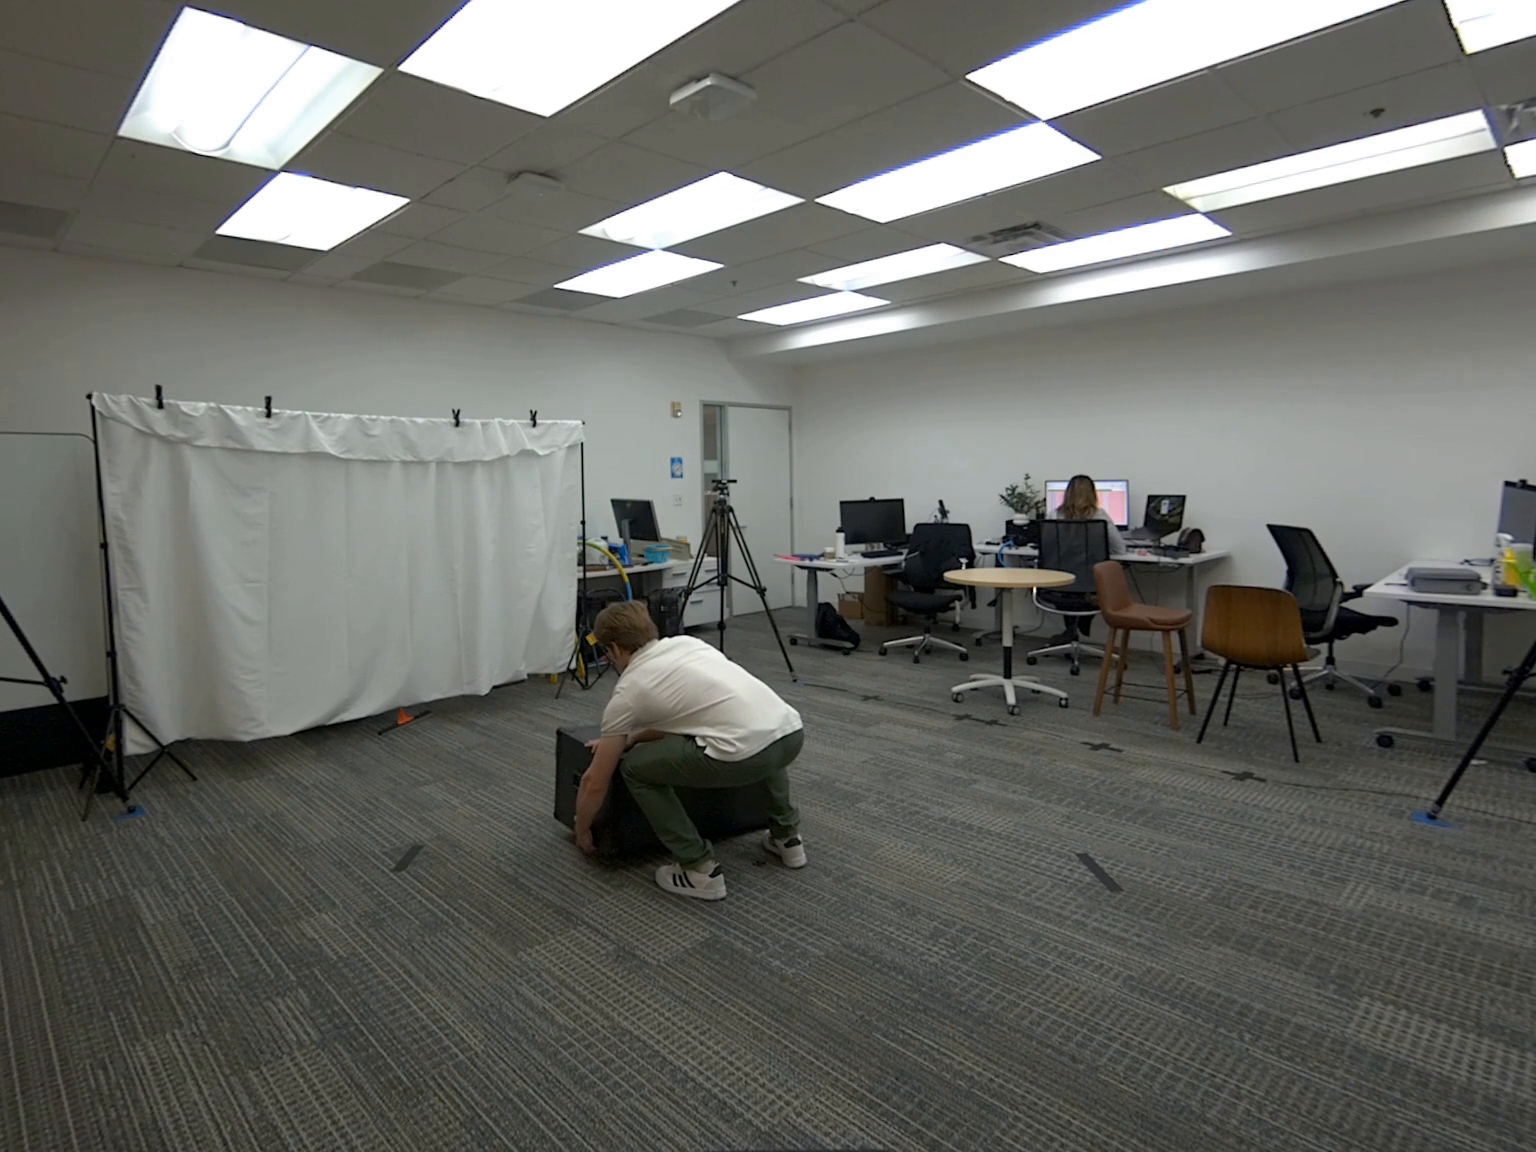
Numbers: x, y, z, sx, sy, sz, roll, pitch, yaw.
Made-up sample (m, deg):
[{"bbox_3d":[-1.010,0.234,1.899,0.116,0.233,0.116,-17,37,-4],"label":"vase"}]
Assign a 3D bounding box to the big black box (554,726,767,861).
[{"bbox_3d":[-0.361,0.803,3.443,0.845,0.385,0.538,-1,3,-35],"label":"big black box"}]
